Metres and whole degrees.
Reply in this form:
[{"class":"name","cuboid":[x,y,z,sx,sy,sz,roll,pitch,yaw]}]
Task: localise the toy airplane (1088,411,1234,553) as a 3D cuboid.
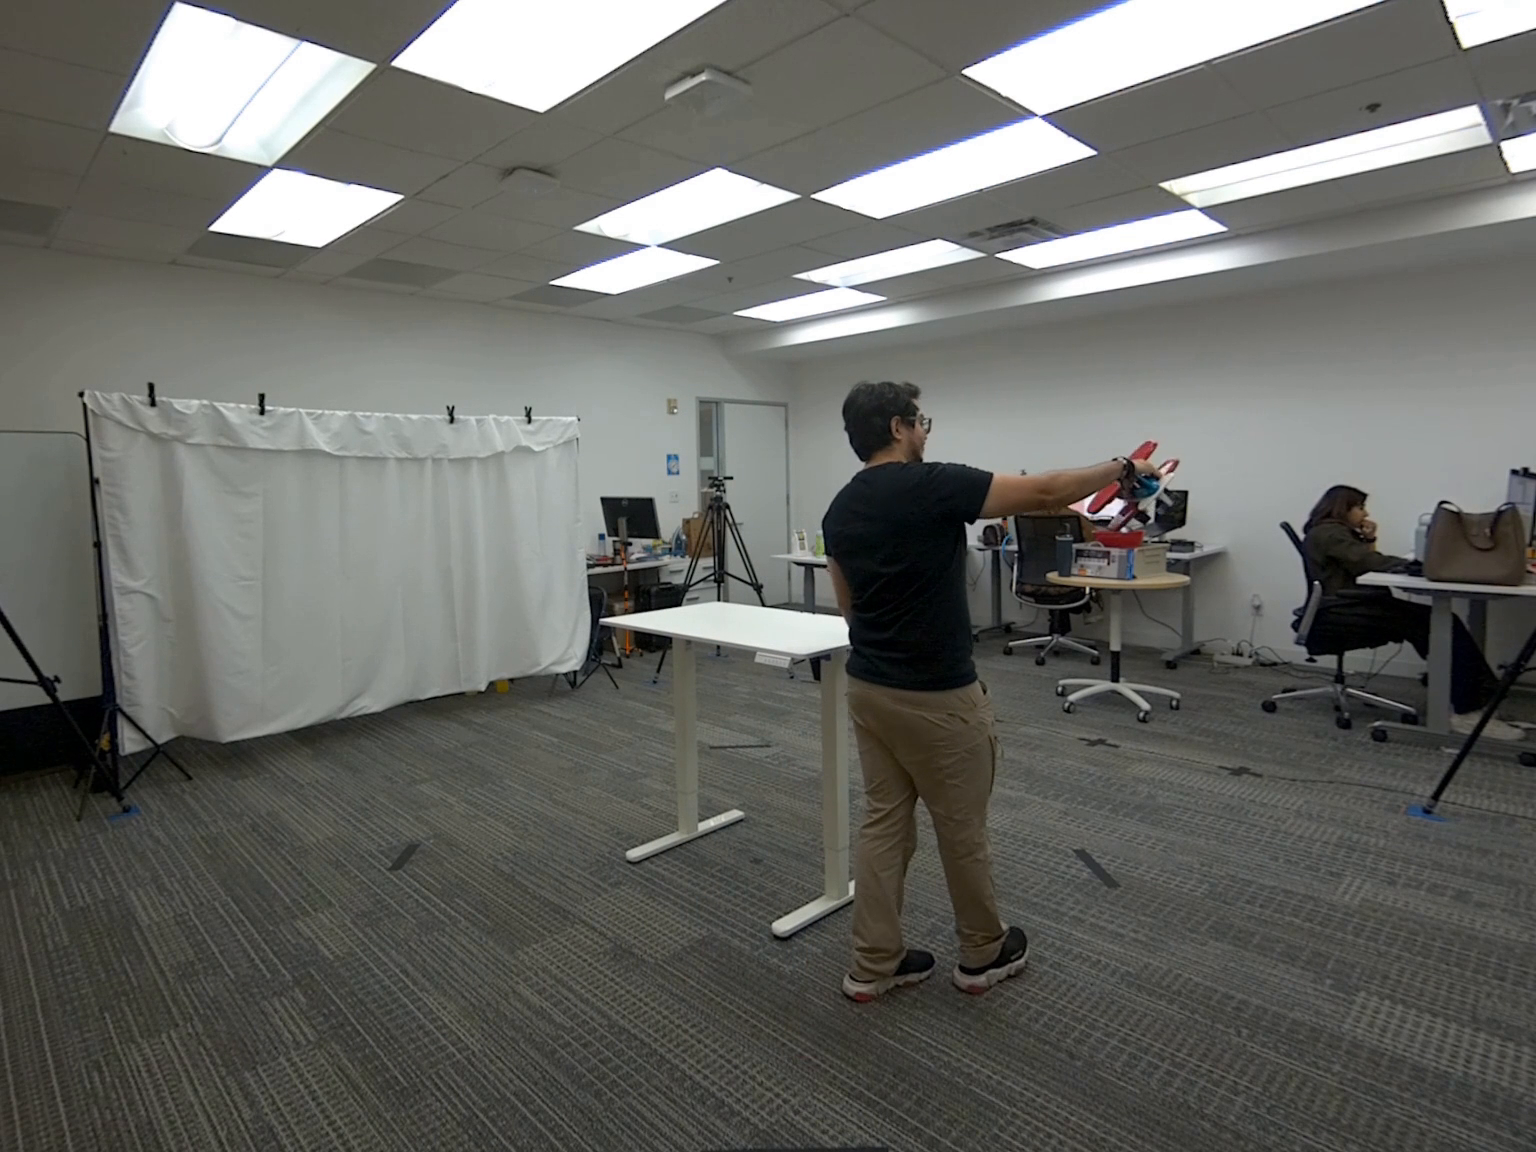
[{"class":"toy airplane","cuboid":[1.045,-0.248,2.299,0.159,0.251,0.255,39,-20,11]}]
